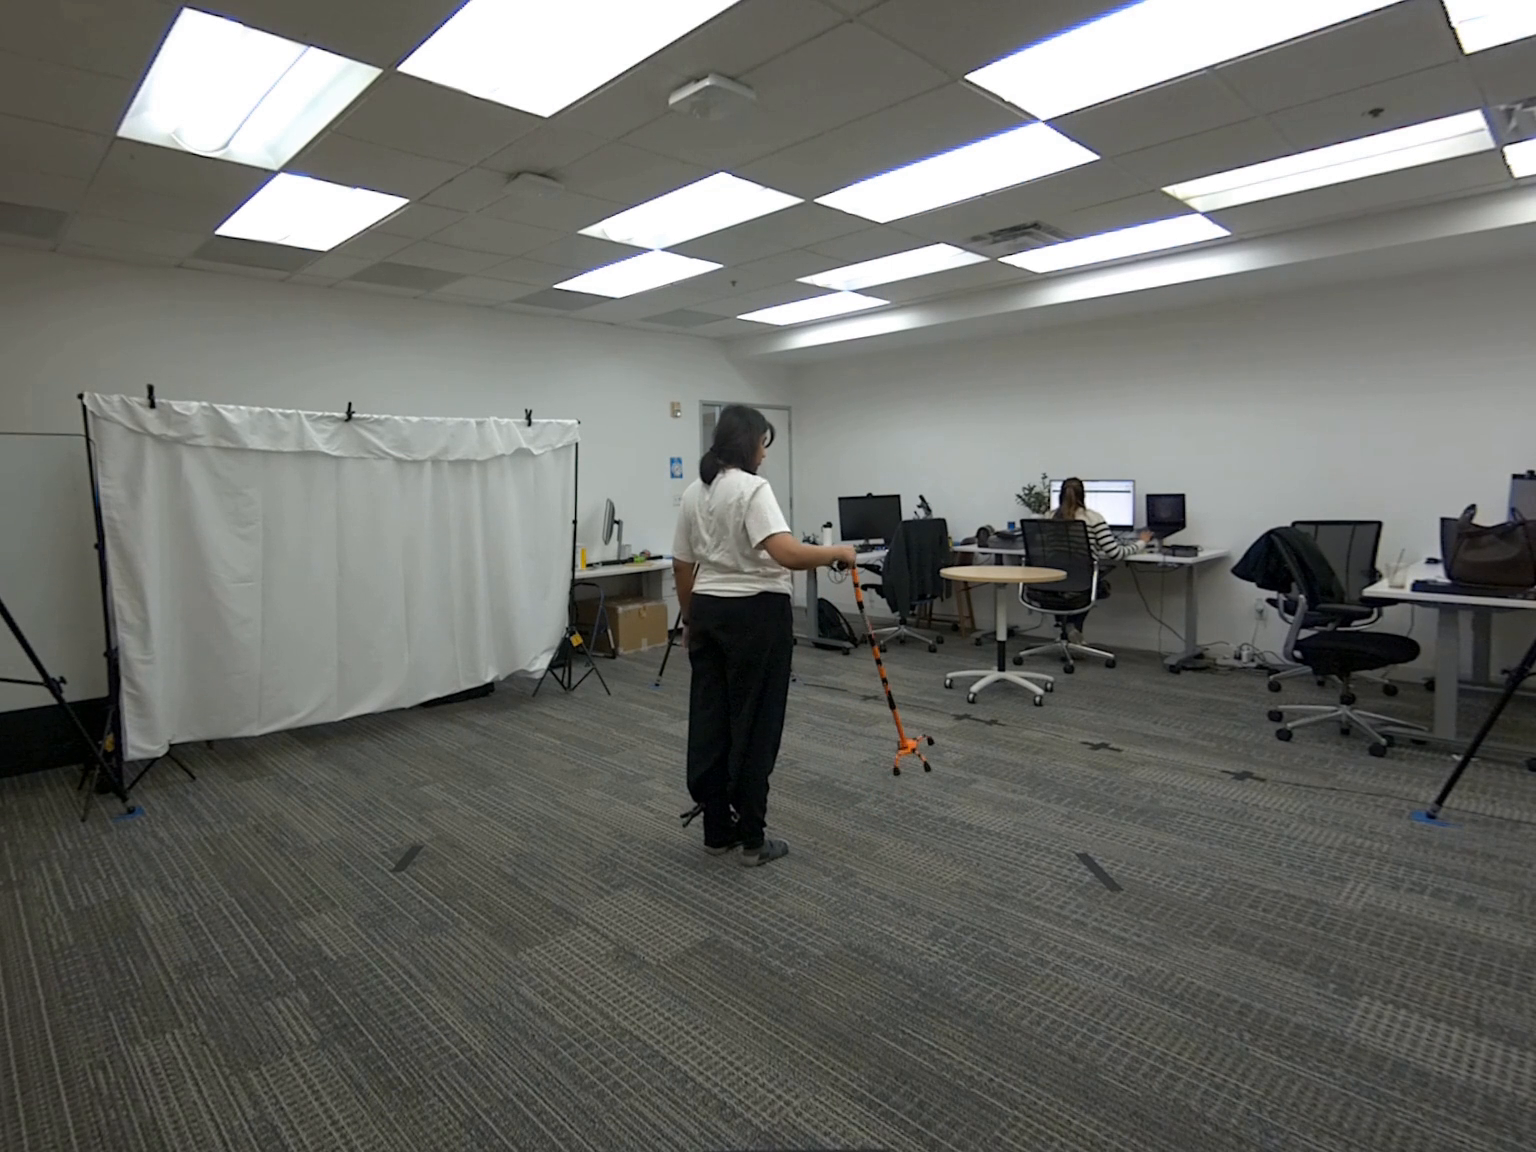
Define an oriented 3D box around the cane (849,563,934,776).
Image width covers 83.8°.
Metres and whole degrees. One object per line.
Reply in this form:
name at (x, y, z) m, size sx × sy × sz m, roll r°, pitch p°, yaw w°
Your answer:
cane at (0.431, 0.329, 3.277) m, size 0.154 × 0.893 × 0.206 m, roll -13°, pitch 15°, yaw 21°
